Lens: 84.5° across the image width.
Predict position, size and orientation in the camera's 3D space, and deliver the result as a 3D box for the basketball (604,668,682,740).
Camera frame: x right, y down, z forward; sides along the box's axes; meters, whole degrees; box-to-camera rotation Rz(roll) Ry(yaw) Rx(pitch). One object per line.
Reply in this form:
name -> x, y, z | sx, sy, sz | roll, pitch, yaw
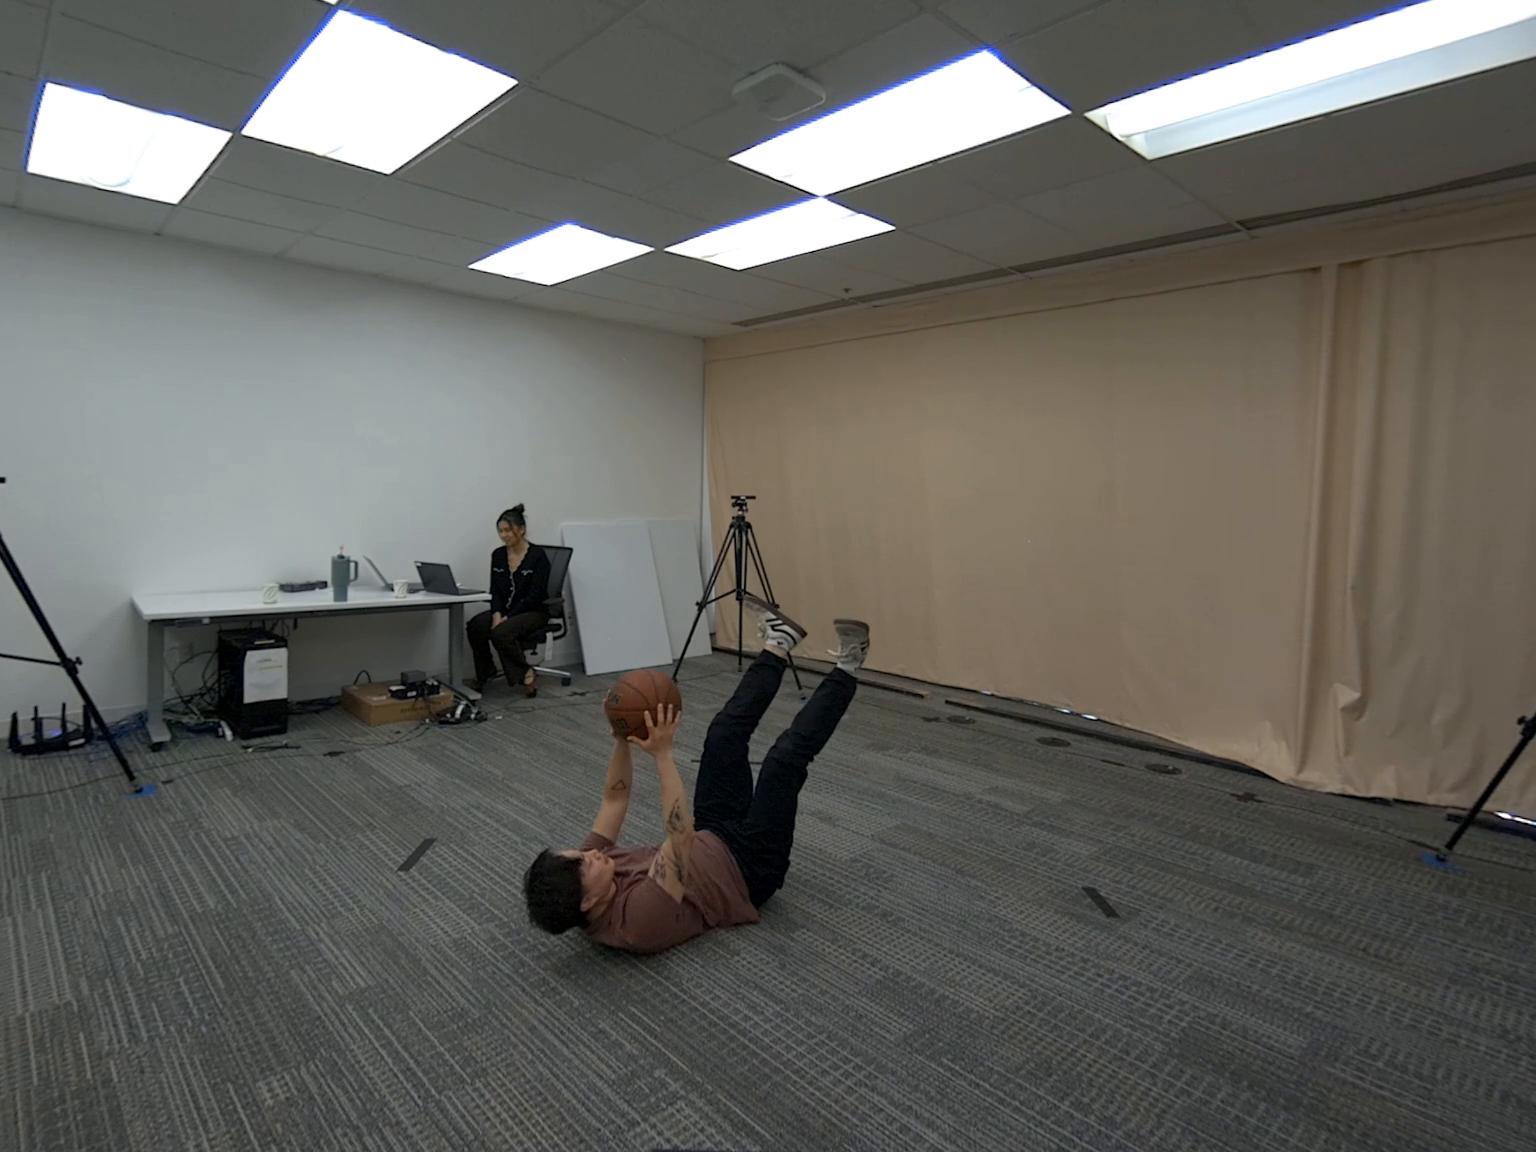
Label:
basketball -> -0.399, 0.410, 2.637 | 0.236, 0.235, 0.237 | 2, 4, -2
